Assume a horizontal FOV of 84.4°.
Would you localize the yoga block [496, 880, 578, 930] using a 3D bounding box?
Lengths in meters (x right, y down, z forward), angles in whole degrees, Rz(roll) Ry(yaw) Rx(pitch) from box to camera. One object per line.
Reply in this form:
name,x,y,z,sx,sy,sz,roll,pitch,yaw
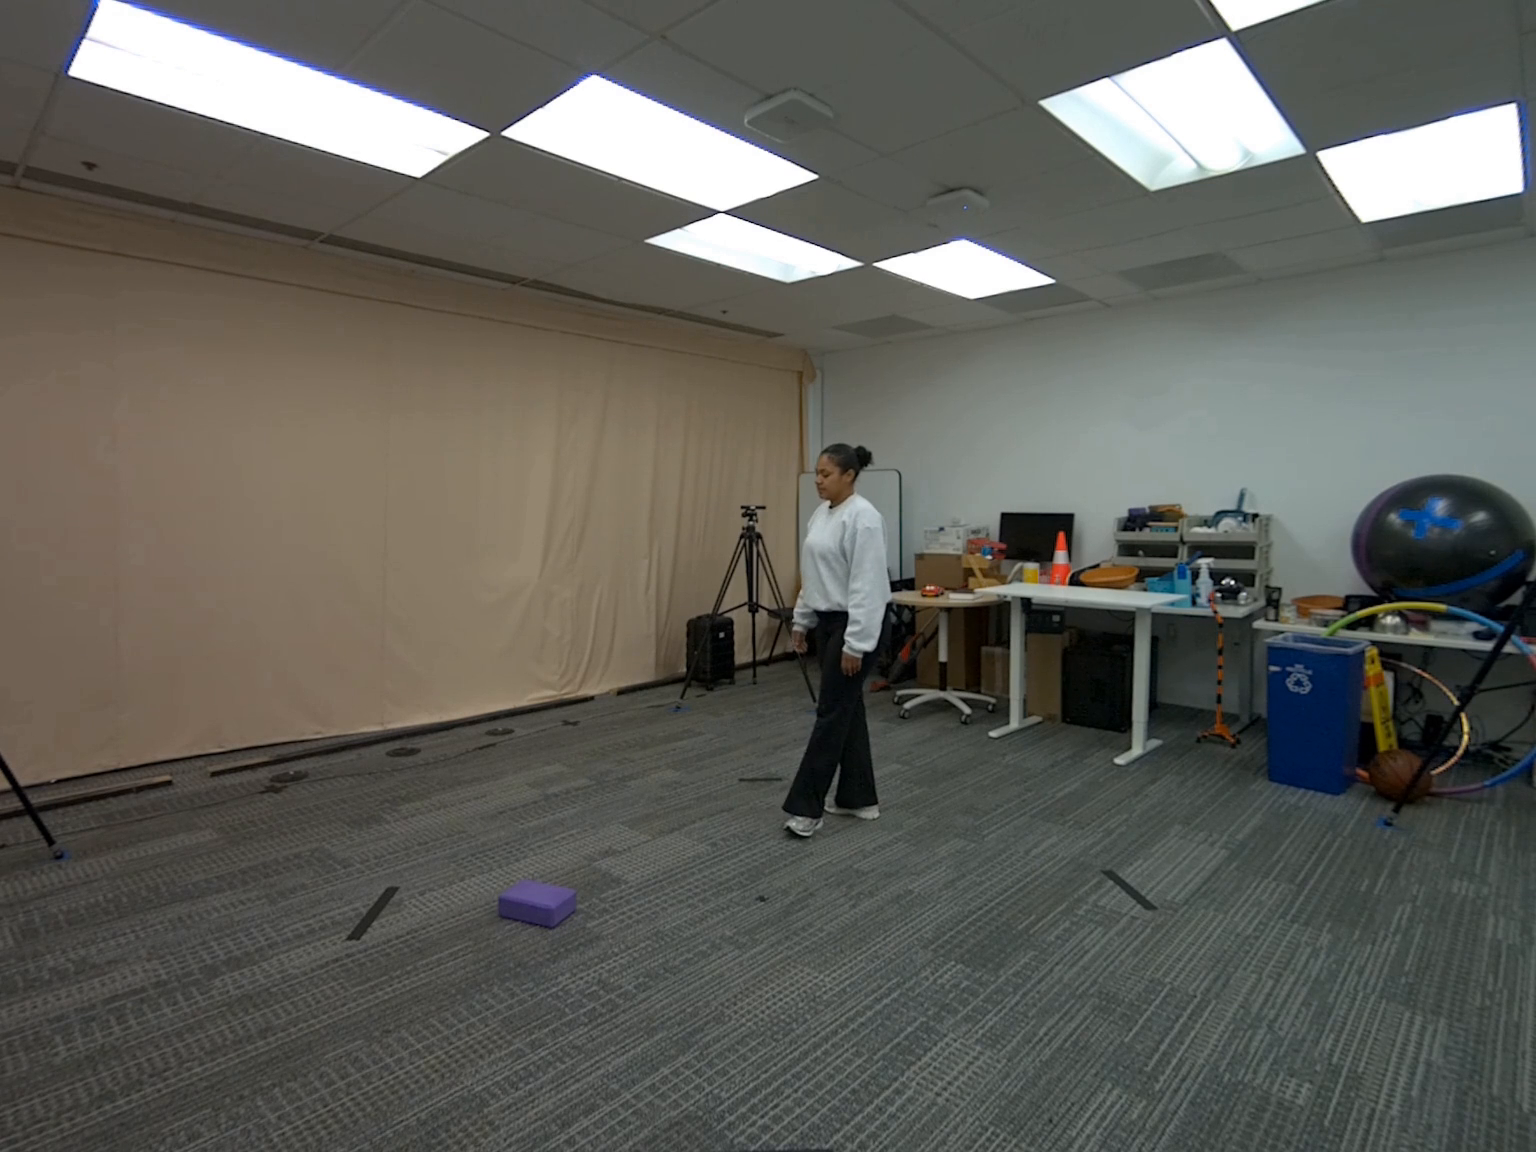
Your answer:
yoga block,-0.794,1.122,2.876,0.235,0.076,0.146,2,5,23
